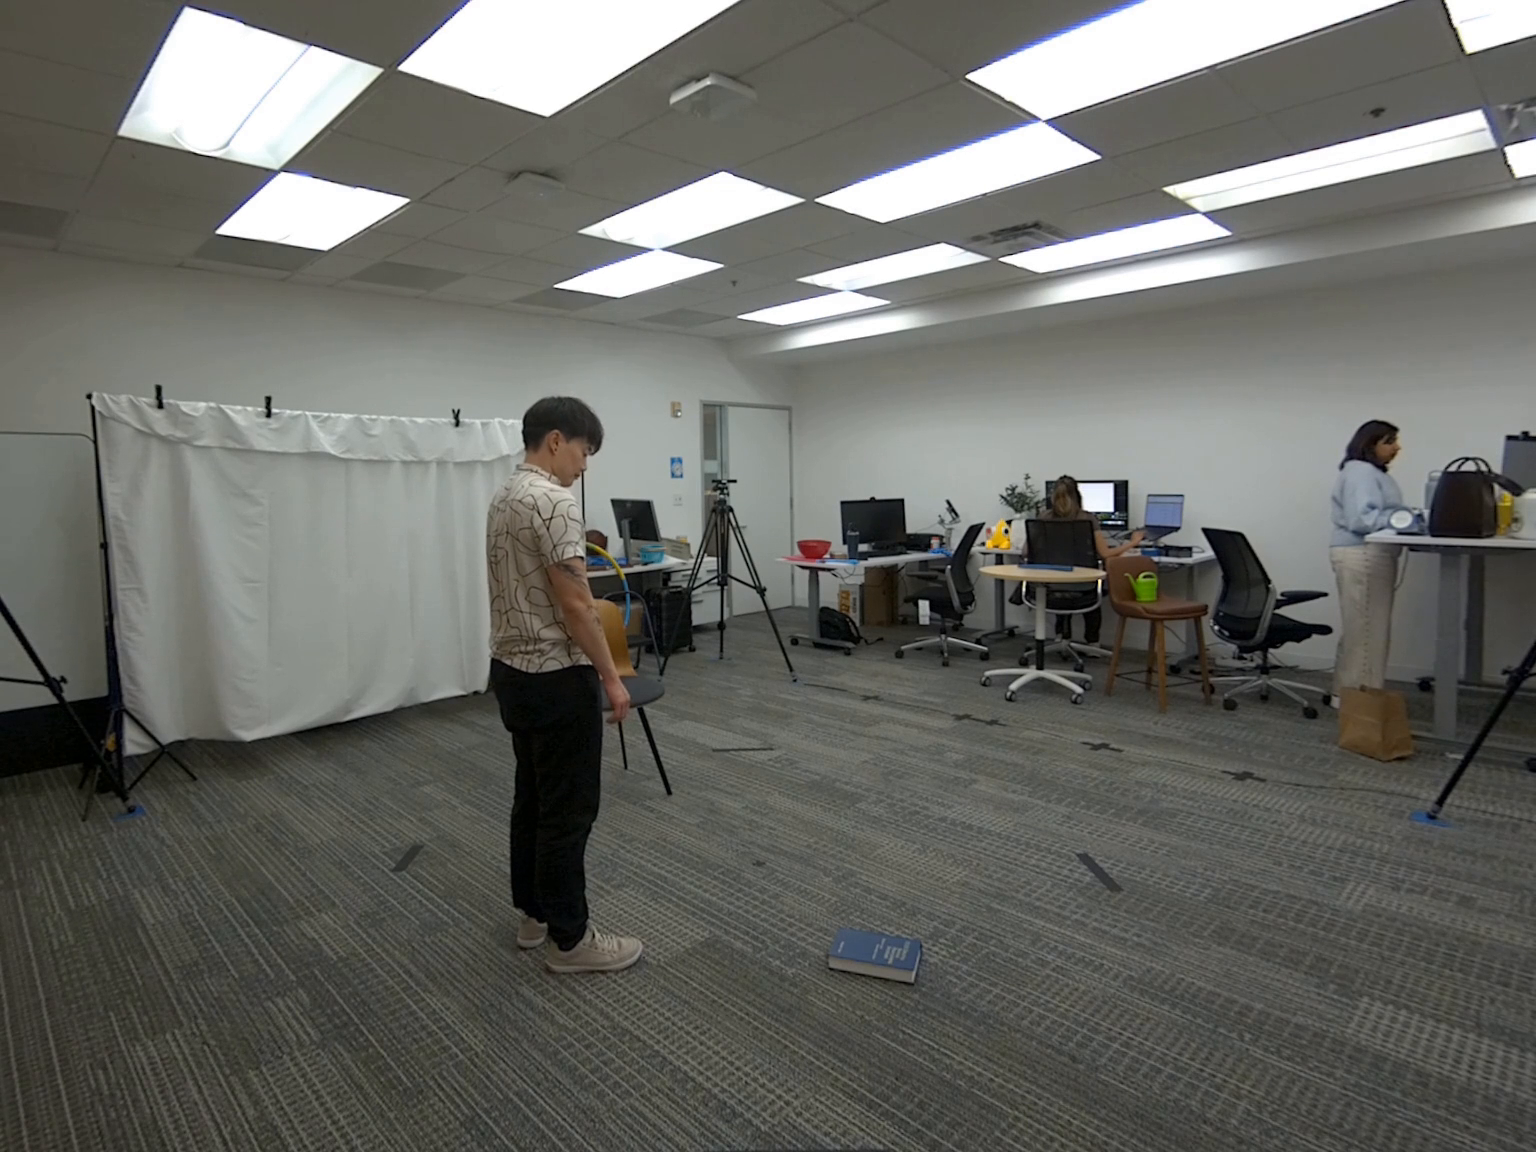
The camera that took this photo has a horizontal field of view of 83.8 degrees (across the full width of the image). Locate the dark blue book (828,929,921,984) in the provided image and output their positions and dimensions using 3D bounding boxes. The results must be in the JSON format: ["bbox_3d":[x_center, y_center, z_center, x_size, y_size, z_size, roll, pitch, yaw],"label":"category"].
[{"bbox_3d":[0.310,1.085,2.461,0.250,0.045,0.161,1,8,19],"label":"dark blue book"}]
